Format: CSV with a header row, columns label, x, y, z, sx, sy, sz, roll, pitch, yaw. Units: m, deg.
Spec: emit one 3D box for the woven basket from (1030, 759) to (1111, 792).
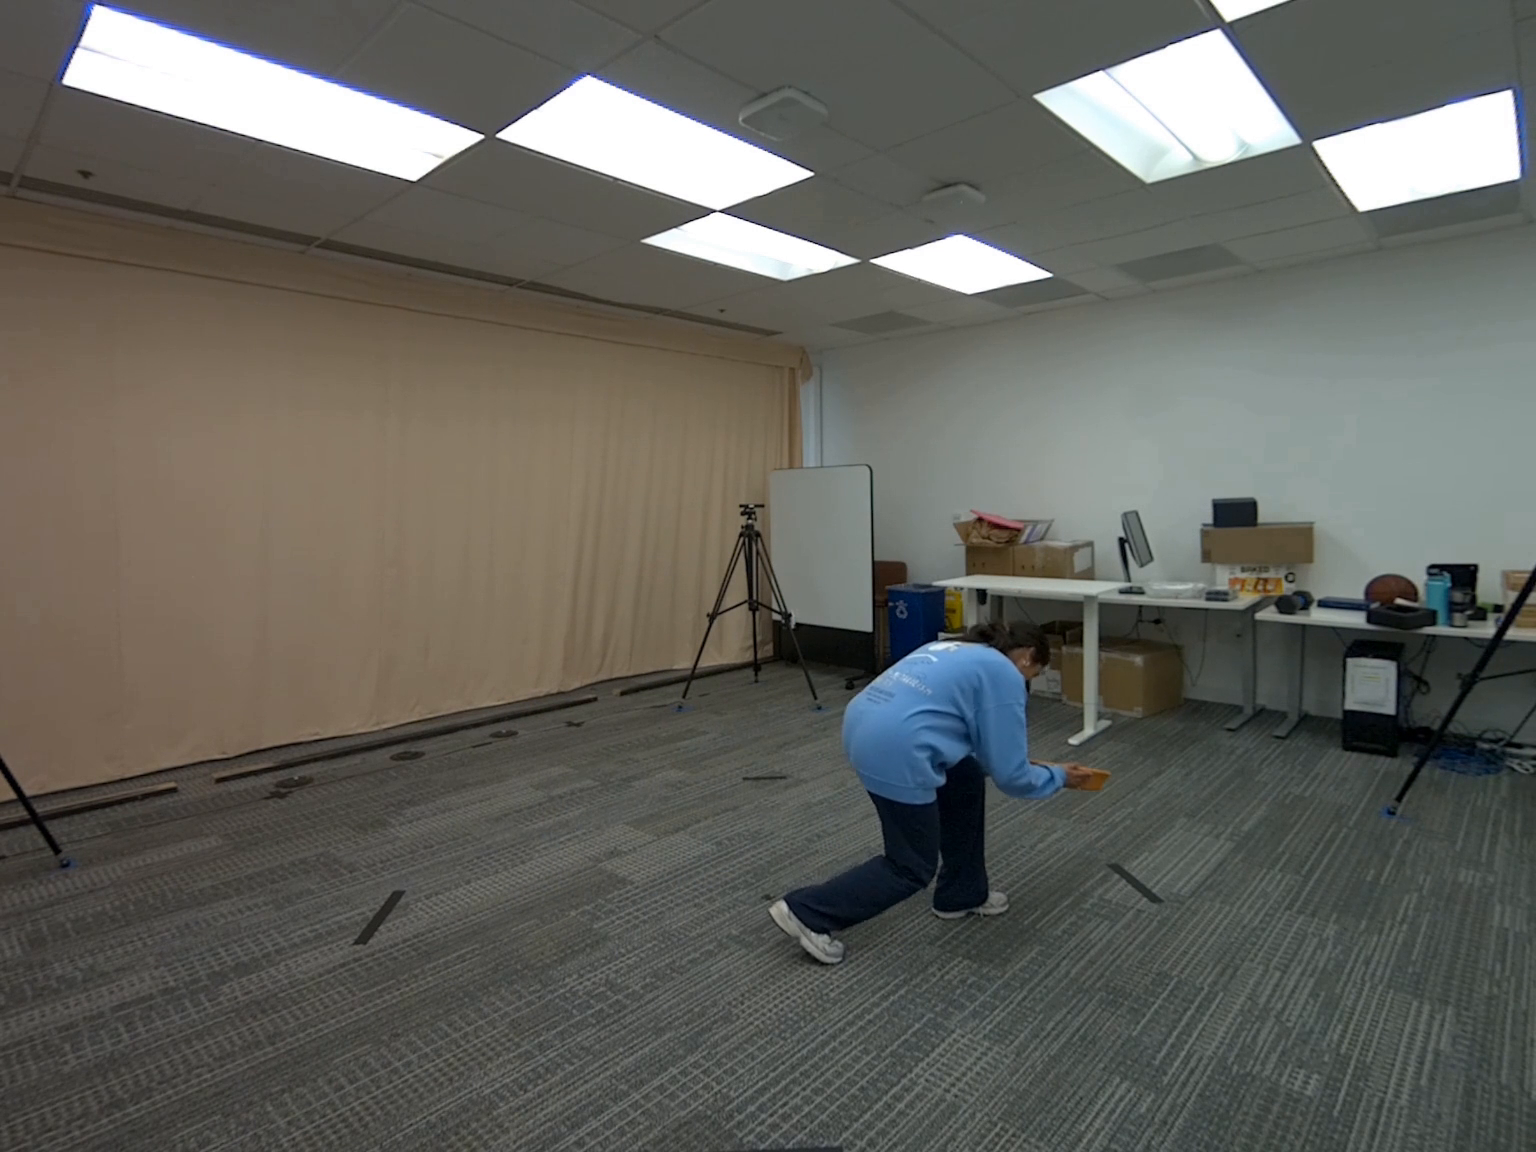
label,x,y,z,sx,sy,sz,roll,pitch,yaw
woven basket,1.017,0.686,2.882,0.347,0.074,0.254,10,-10,-9
